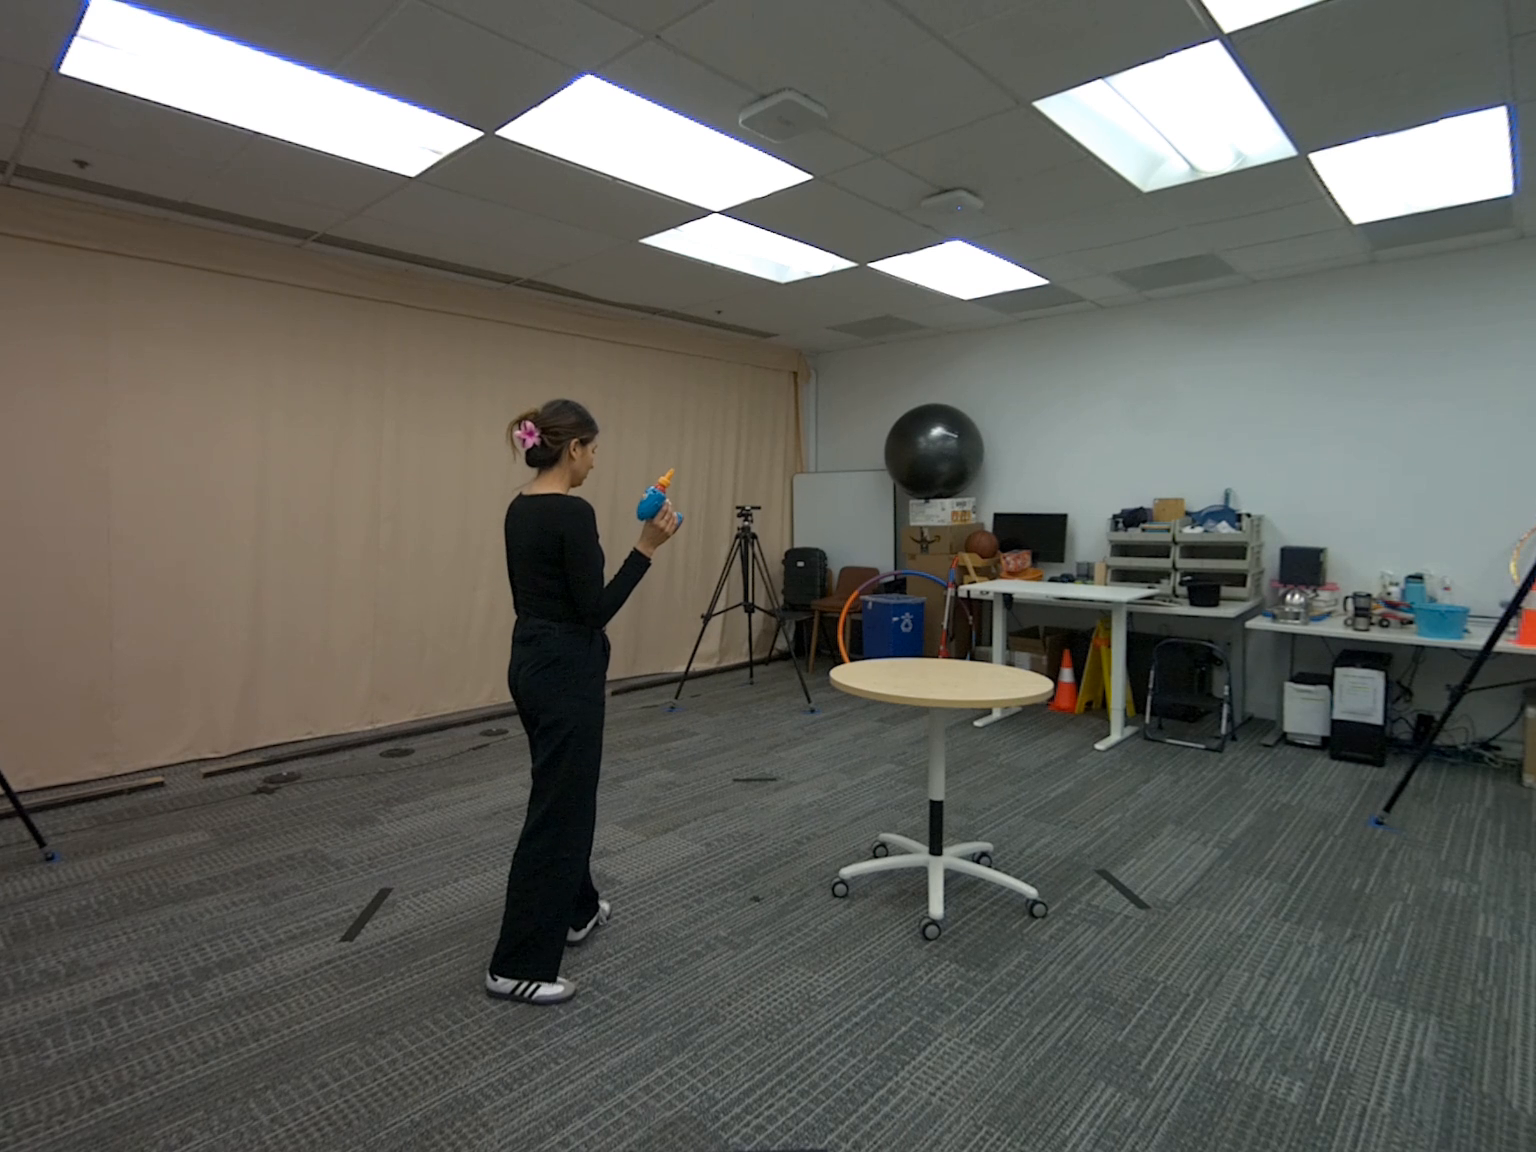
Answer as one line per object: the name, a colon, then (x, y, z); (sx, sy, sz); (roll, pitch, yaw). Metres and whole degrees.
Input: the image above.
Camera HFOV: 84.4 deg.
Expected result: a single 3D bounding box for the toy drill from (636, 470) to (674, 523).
toy drill: (-0.288, -0.210, 2.372); (0.141, 0.170, 0.063); (38, -11, -39)
